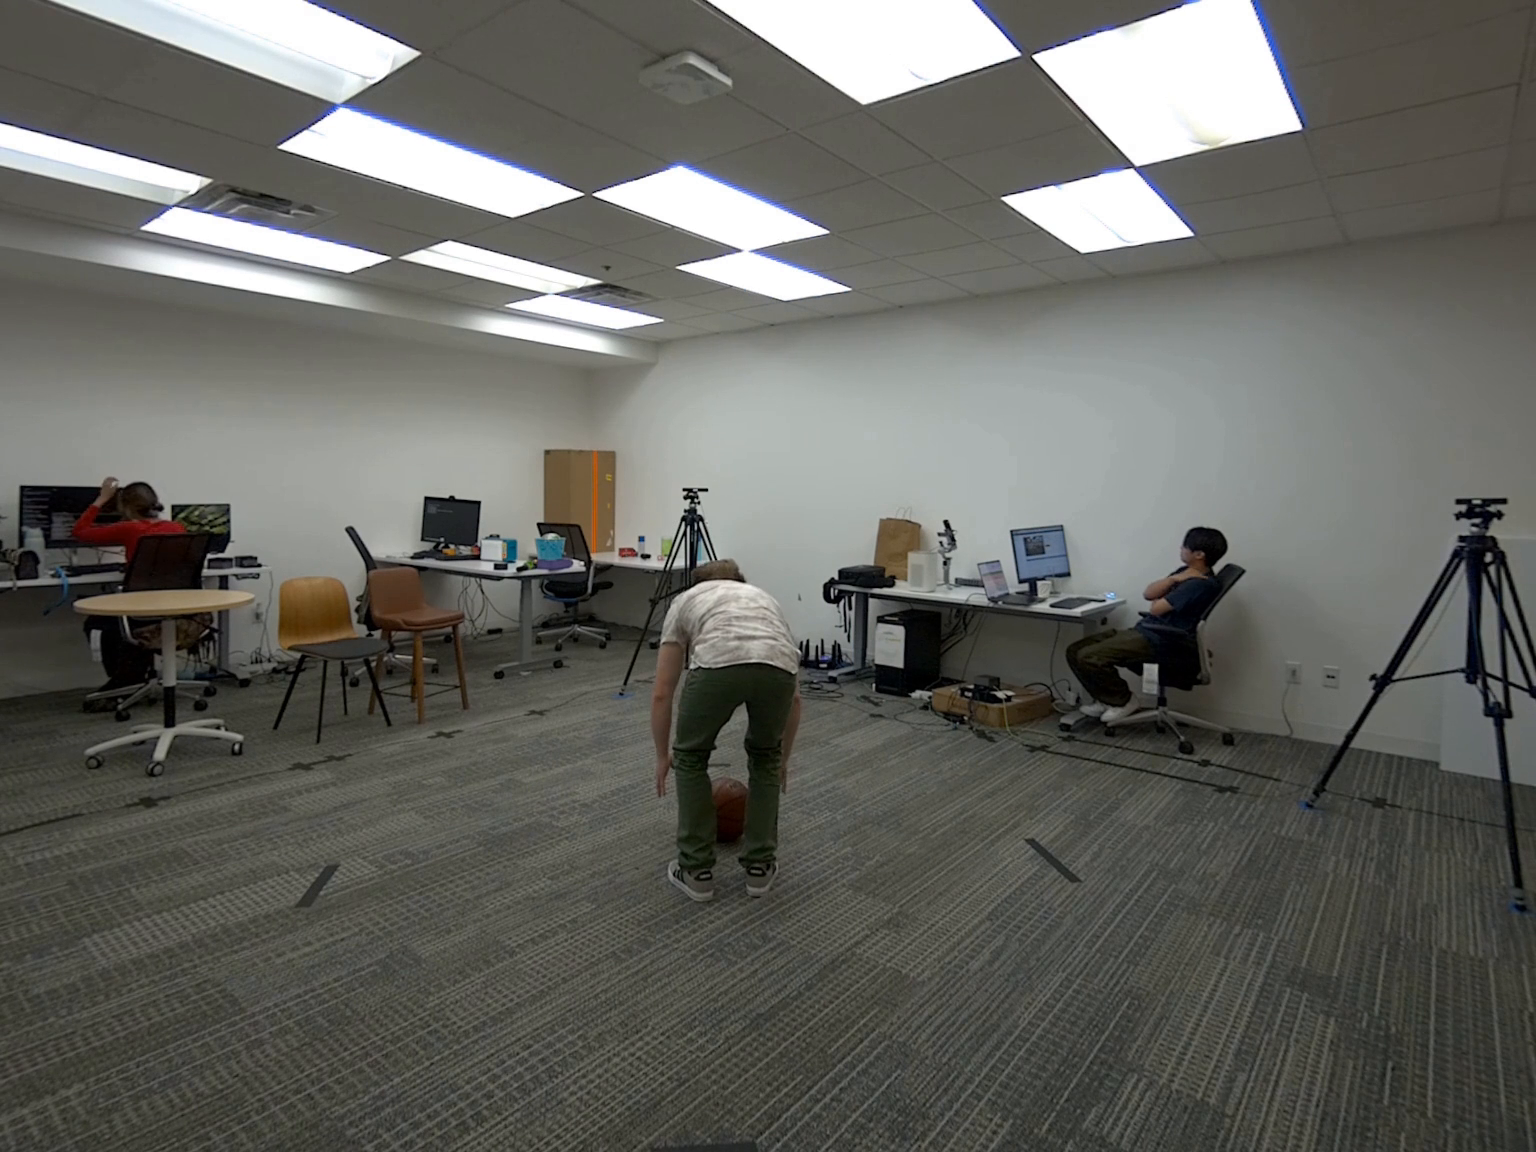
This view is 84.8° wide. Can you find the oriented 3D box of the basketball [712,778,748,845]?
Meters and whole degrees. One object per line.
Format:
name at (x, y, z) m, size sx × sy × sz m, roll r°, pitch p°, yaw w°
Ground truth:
basketball at (-0.181, 0.919, 3.390) m, size 0.235 × 0.235 × 0.237 m, roll 1°, pitch 4°, yaw -2°
